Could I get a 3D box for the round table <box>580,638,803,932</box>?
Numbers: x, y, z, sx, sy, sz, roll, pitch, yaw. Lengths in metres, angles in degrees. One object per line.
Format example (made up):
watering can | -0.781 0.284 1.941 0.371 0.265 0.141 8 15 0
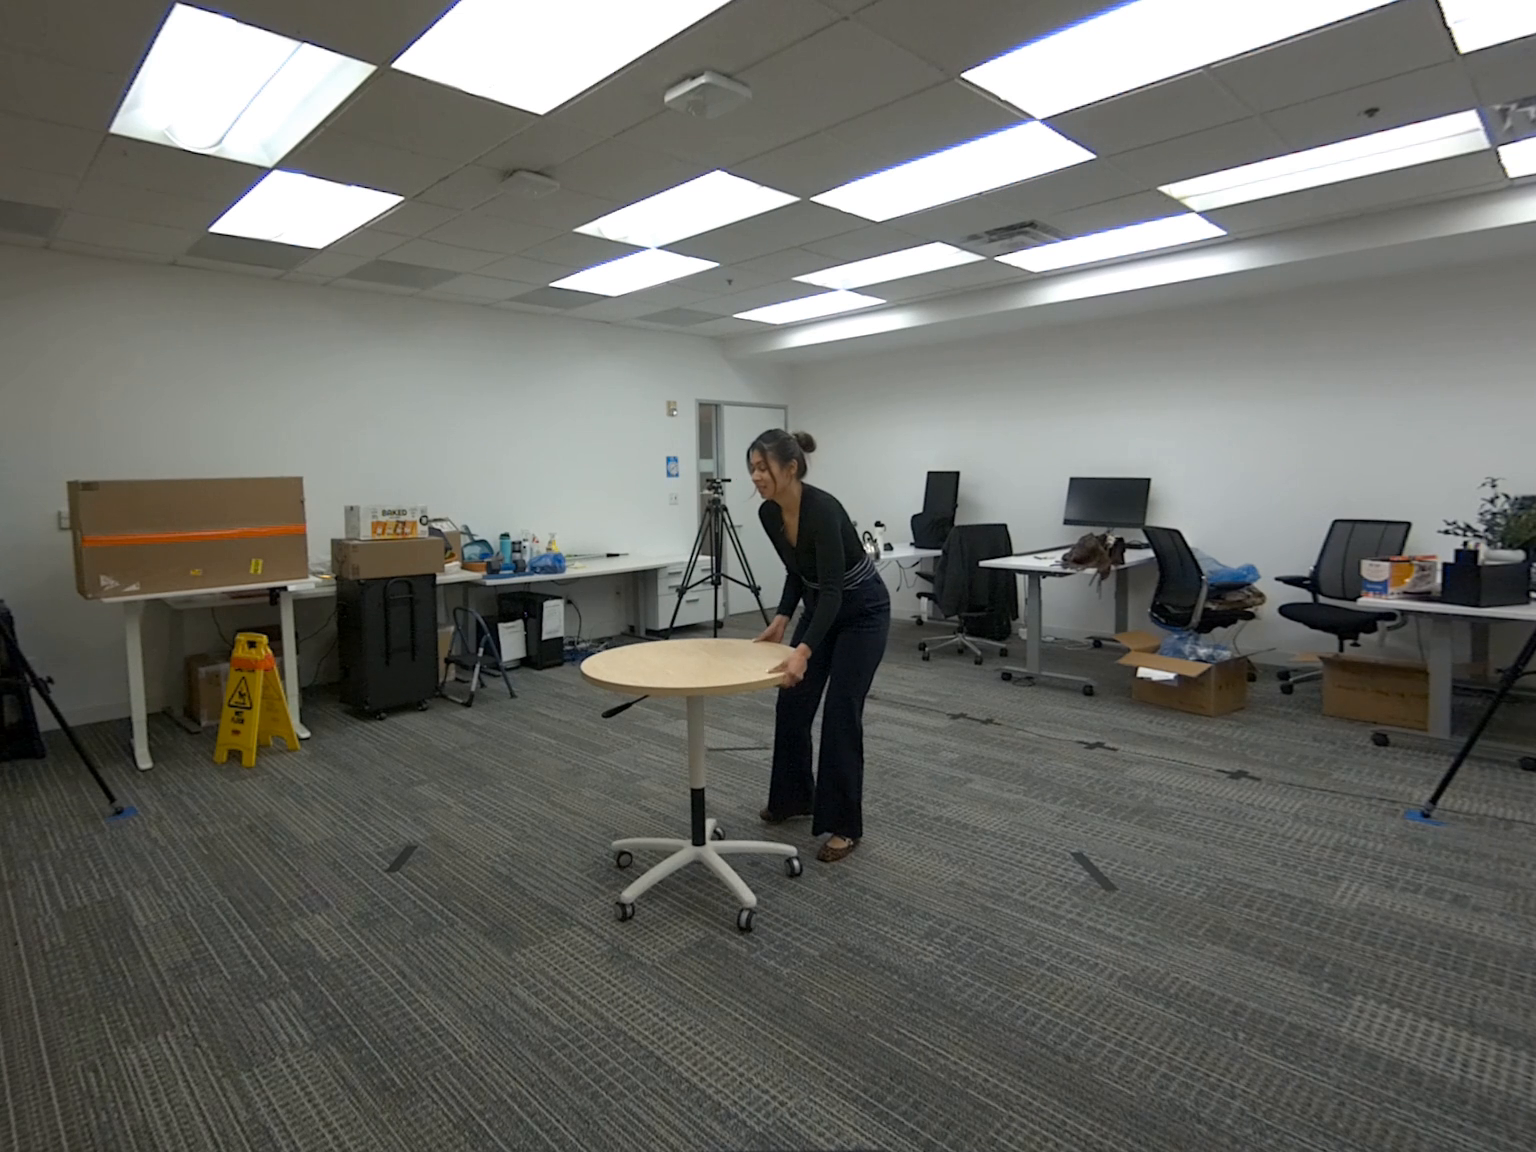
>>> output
round table | -0.244 0.678 2.932 0.763 0.791 0.768 -1 5 -2
